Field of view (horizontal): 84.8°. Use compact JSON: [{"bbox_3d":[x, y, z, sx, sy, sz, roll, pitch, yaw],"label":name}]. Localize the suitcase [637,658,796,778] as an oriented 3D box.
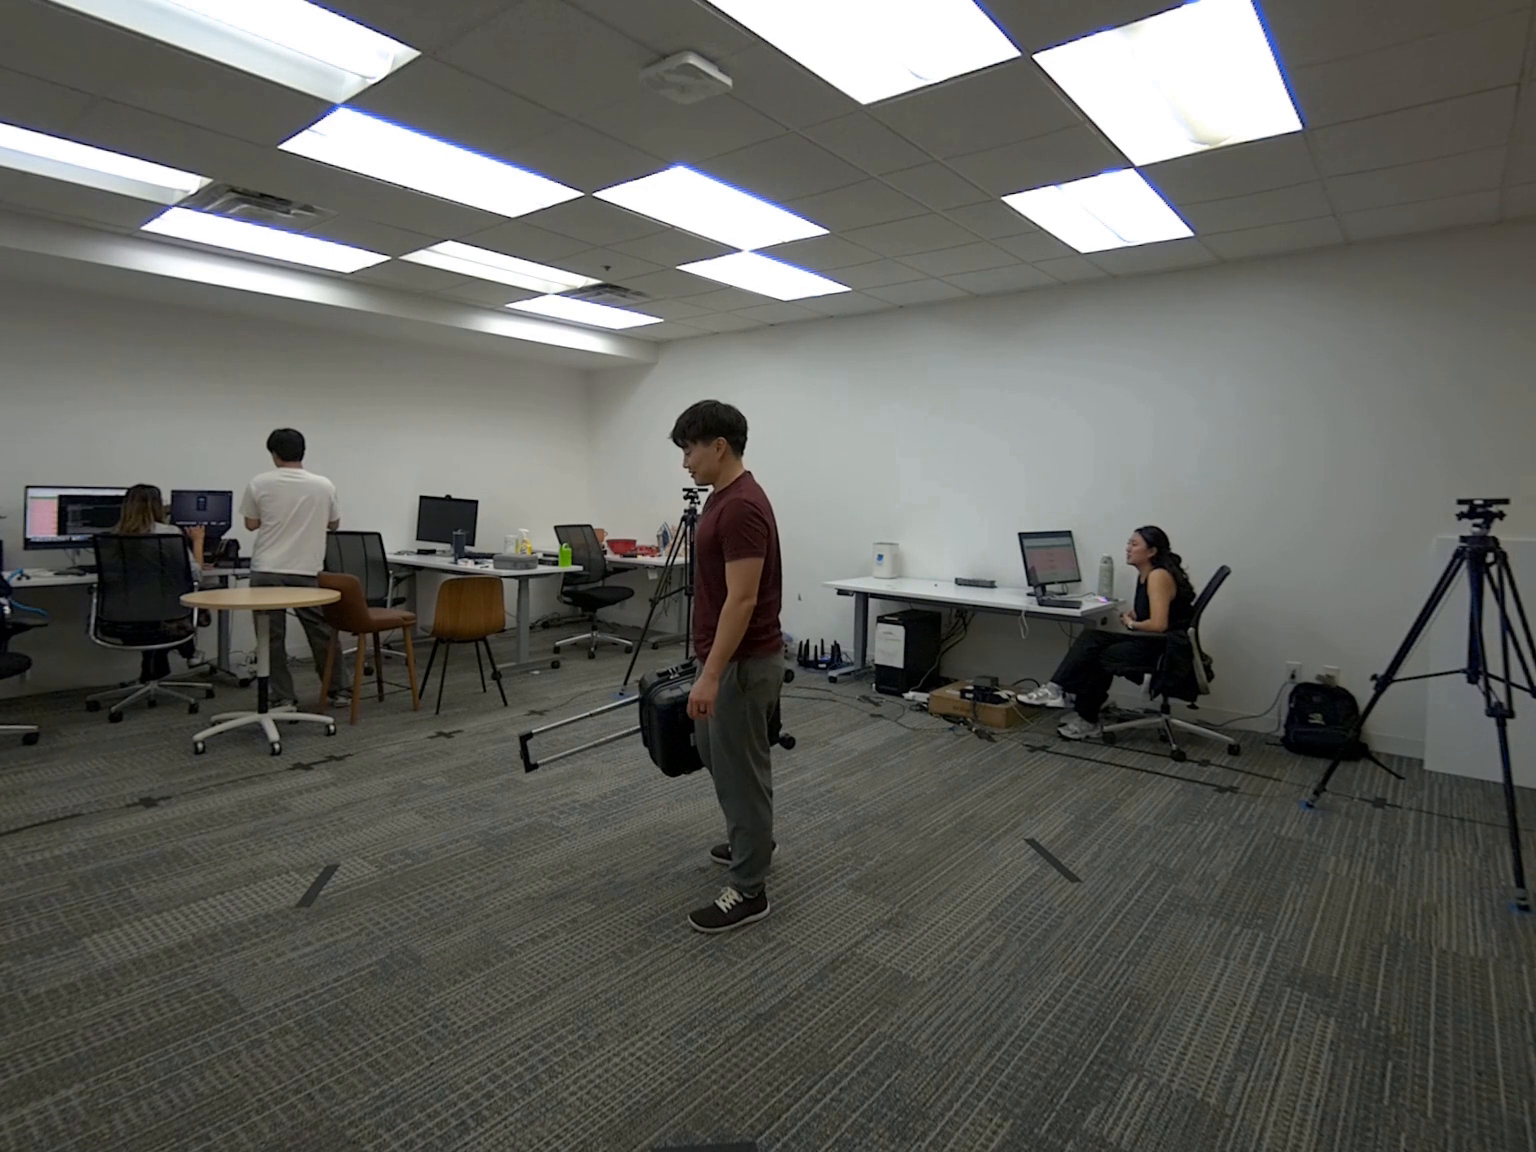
[{"bbox_3d":[-0.400,0.530,3.096,0.961,0.376,0.267,-14,26,-23],"label":"suitcase"}]
